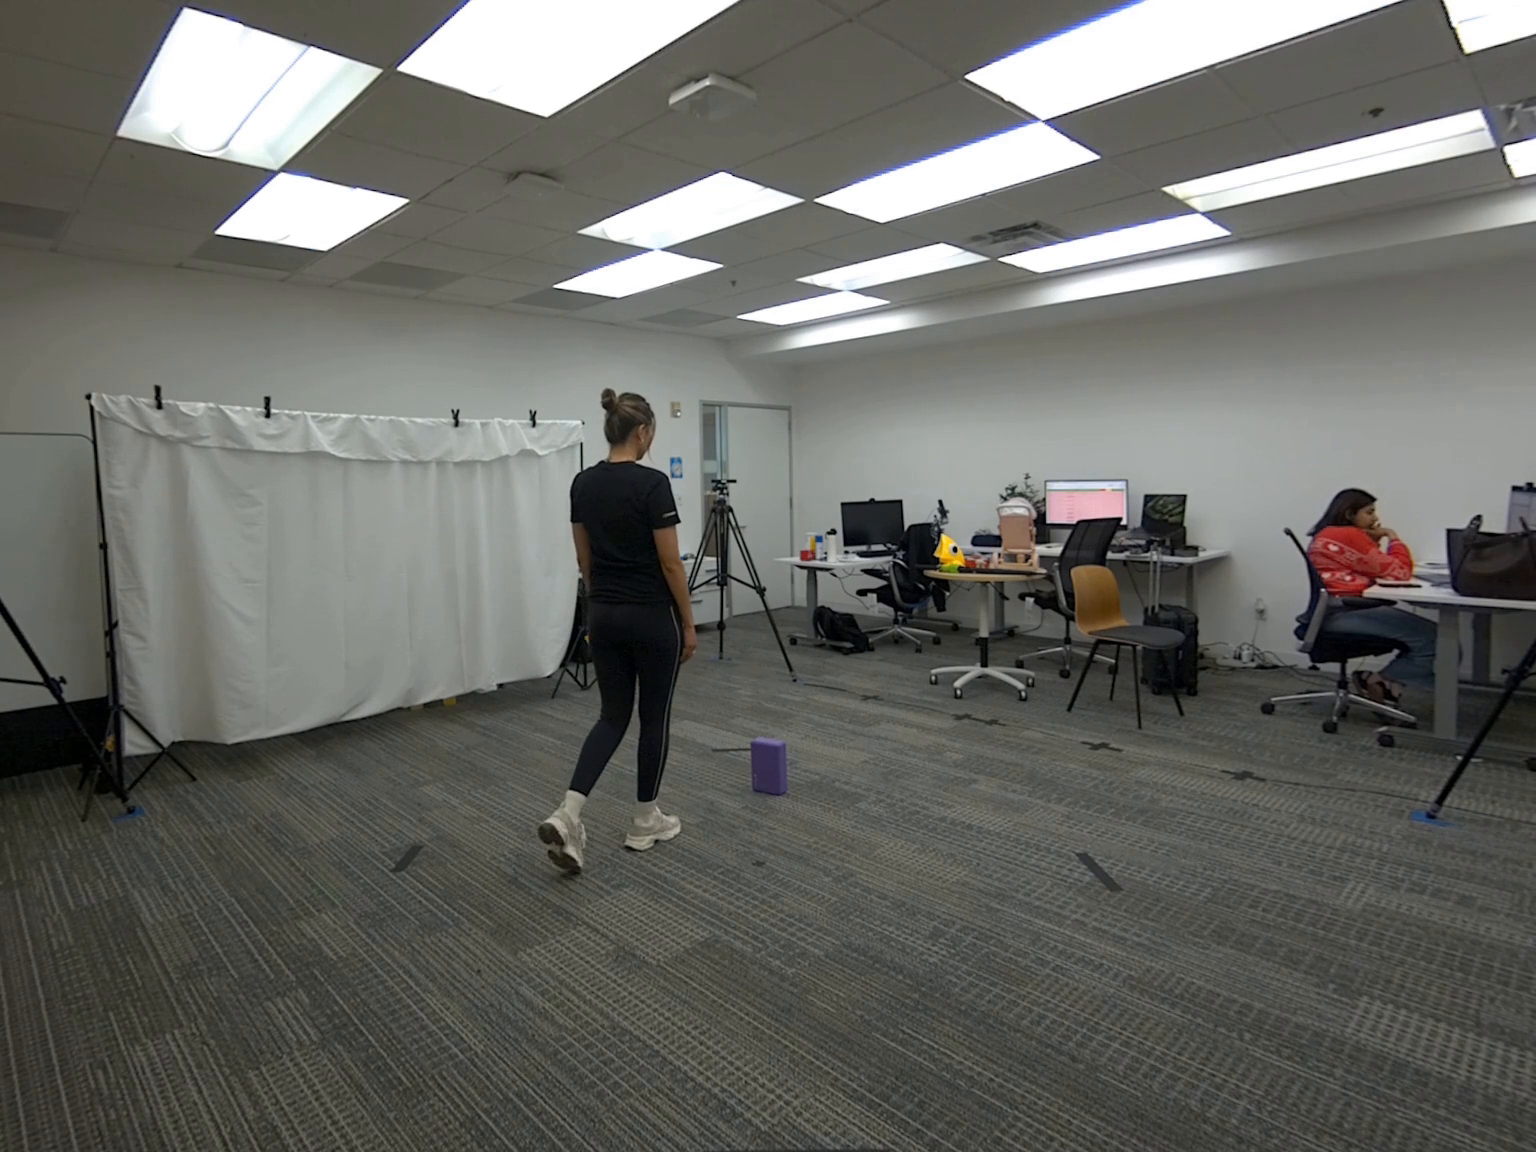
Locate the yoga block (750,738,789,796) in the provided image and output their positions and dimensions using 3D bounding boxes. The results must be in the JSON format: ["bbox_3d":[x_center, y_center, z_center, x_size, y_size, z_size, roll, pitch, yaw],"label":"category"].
[{"bbox_3d":[0.005,0.849,3.825,0.153,0.228,0.075,2,6,31],"label":"yoga block"}]
